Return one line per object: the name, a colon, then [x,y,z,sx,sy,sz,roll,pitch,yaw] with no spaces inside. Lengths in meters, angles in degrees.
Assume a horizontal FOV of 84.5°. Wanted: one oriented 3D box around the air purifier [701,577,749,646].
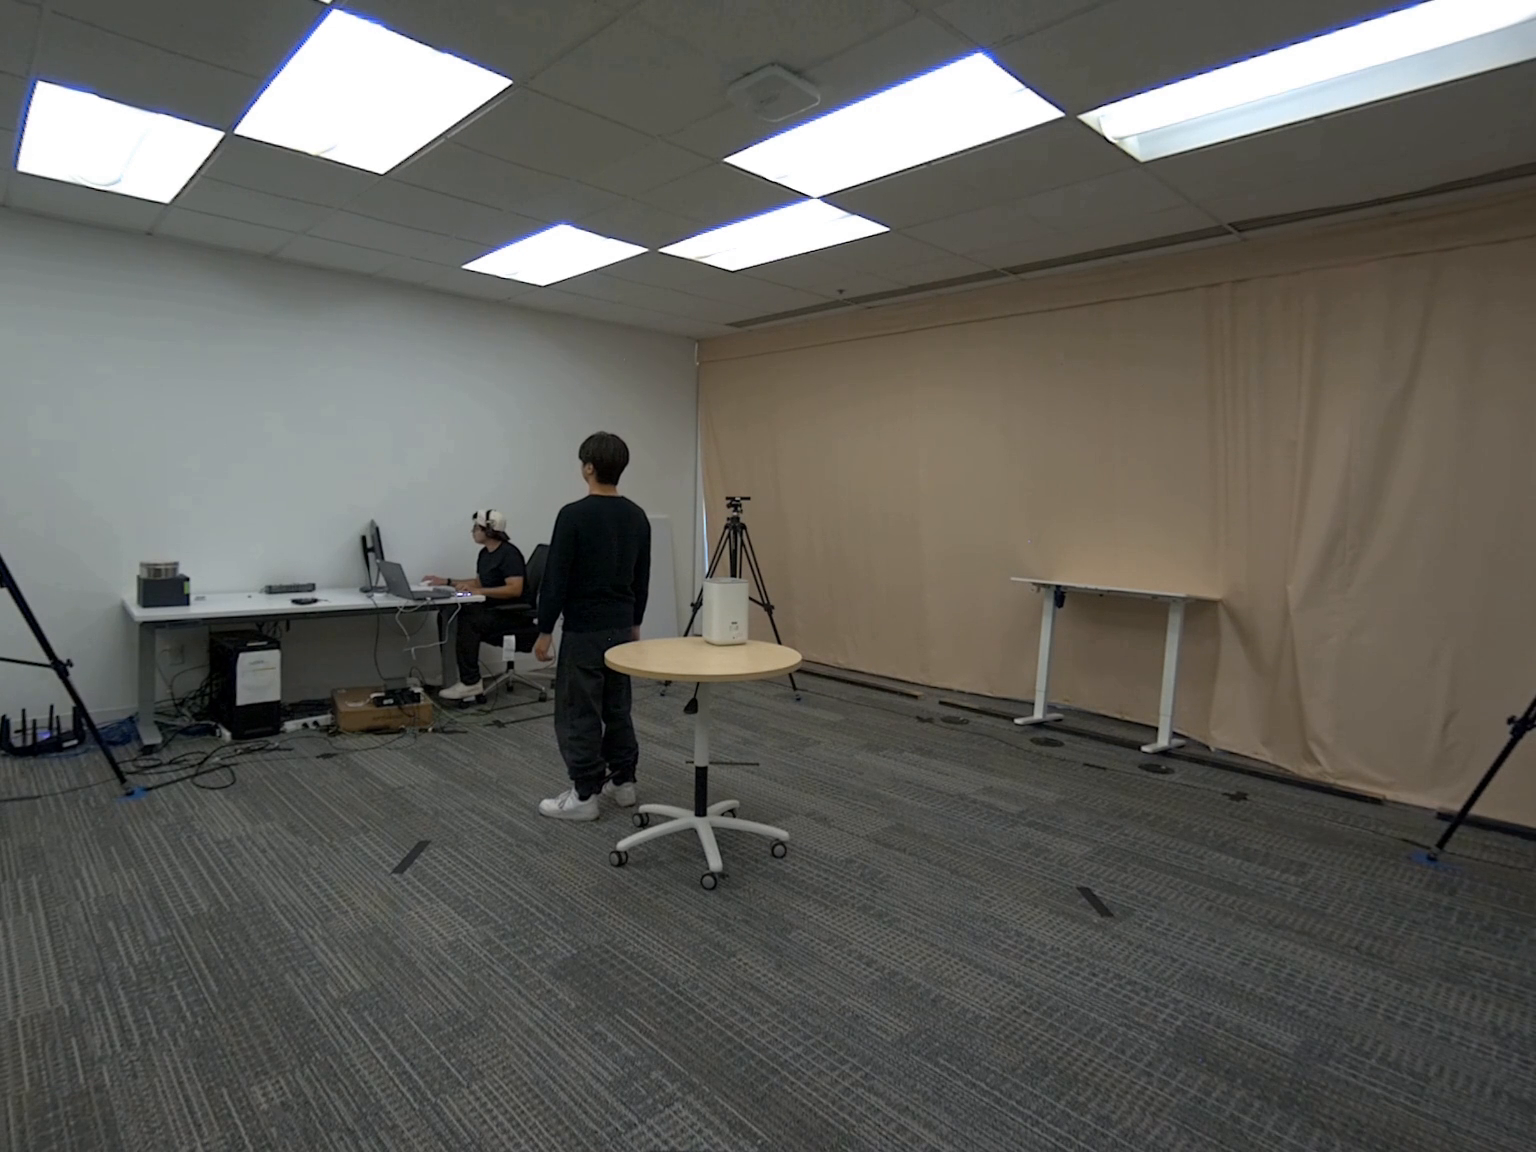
air purifier: [-0.187,0.150,3.534,0.168,0.265,0.175,1,4,-23]
